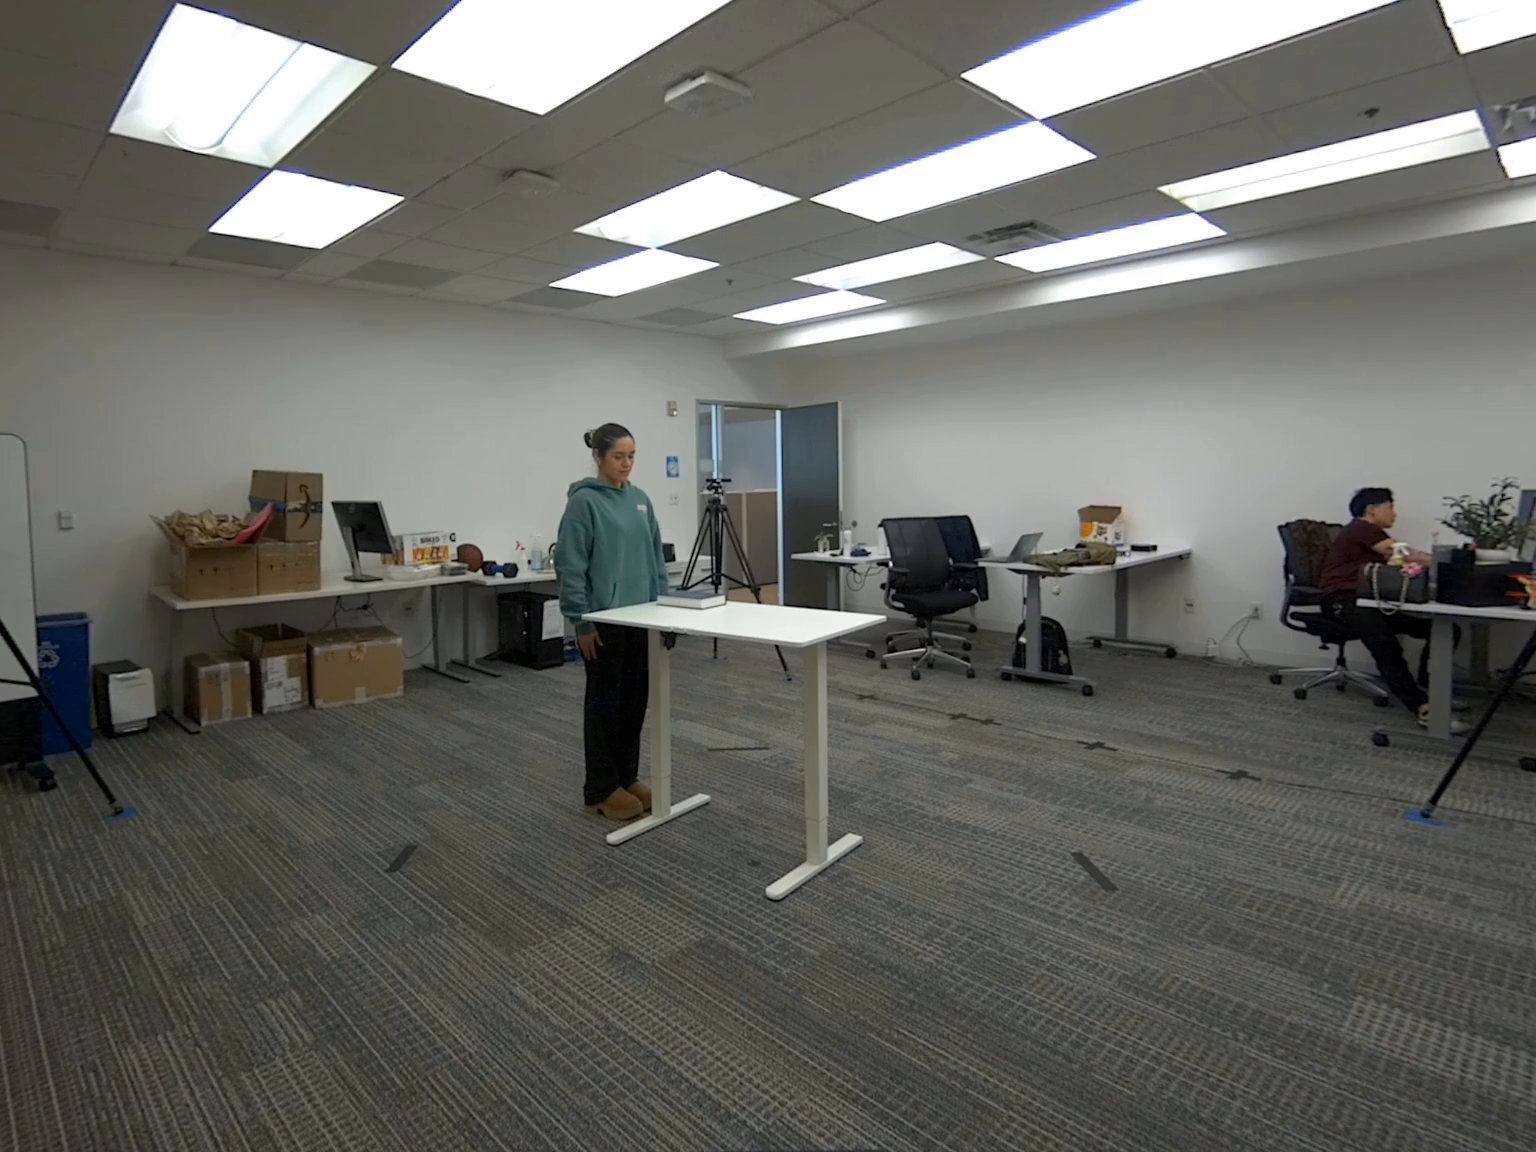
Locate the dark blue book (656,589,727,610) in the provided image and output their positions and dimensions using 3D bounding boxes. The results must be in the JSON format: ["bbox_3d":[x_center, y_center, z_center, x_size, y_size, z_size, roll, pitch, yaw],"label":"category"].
[{"bbox_3d":[-0.306,0.096,3.520,0.252,0.045,0.159,4,8,35],"label":"dark blue book"}]
